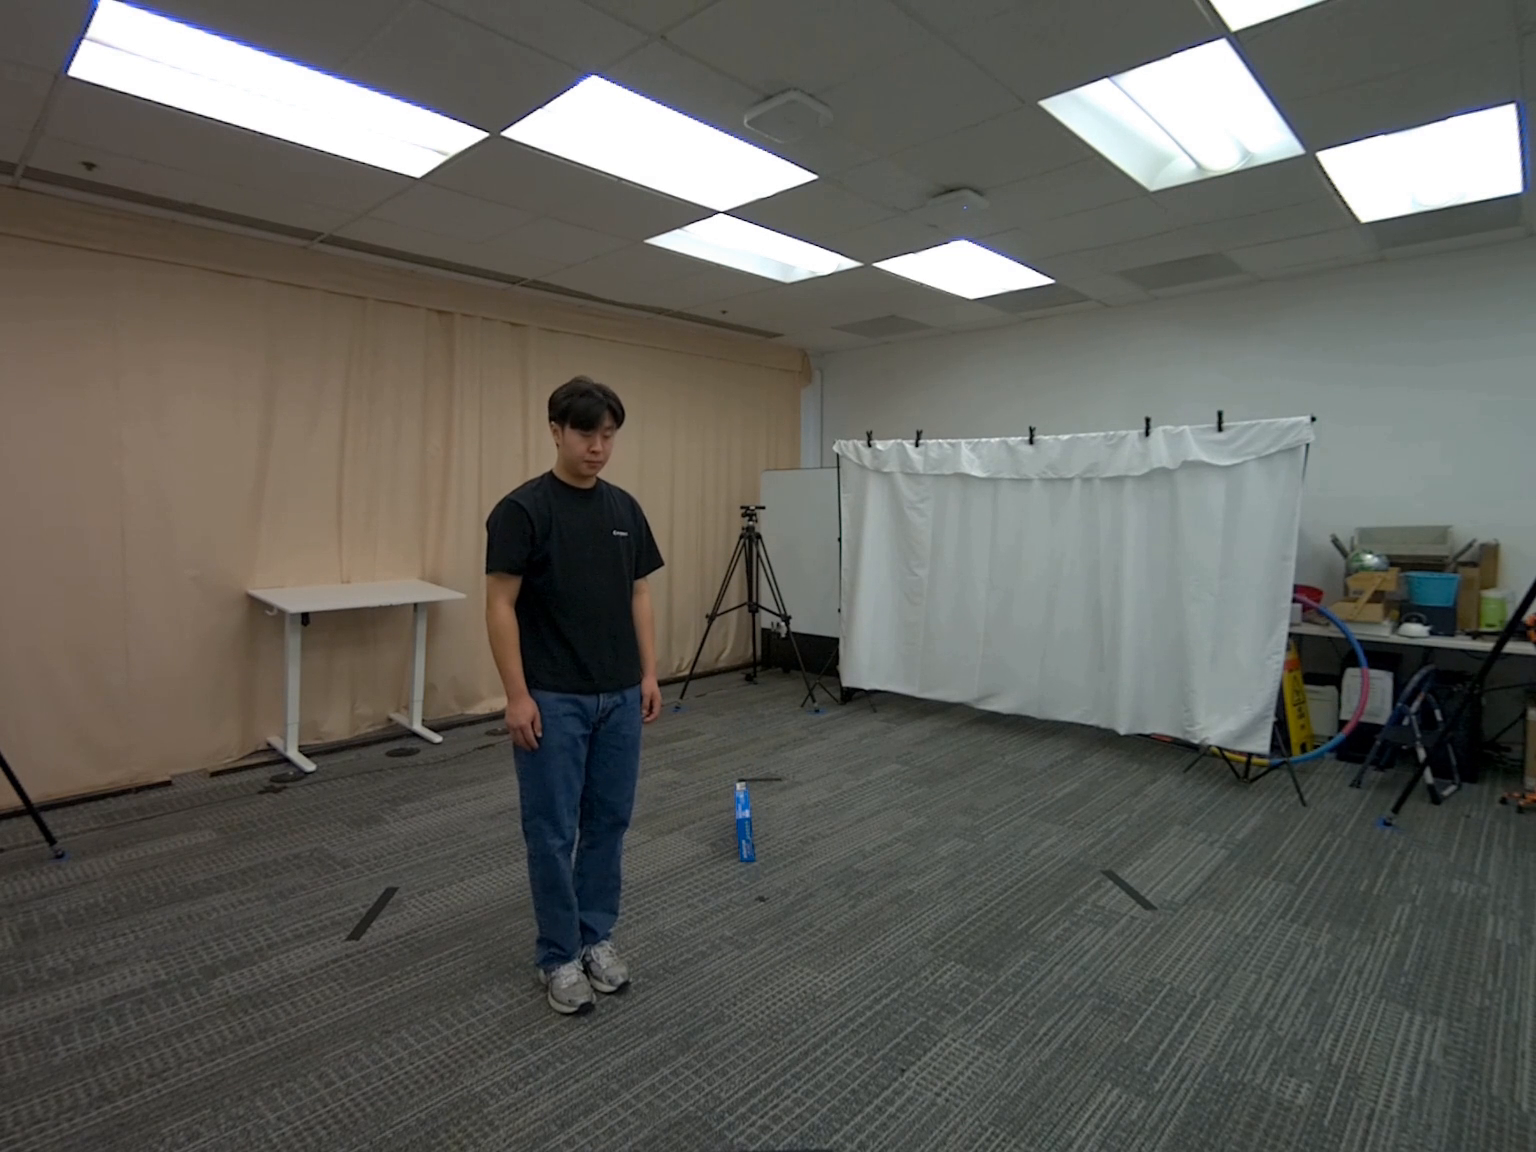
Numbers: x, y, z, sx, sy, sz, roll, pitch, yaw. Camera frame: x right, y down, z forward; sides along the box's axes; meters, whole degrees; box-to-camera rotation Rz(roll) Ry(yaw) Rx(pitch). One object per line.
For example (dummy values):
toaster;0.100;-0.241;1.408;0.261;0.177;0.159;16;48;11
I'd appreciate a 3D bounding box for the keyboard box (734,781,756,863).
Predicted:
keyboard box;-0.097;1.012;3.505;0.059;0.175;0.439;-5;5;-3
